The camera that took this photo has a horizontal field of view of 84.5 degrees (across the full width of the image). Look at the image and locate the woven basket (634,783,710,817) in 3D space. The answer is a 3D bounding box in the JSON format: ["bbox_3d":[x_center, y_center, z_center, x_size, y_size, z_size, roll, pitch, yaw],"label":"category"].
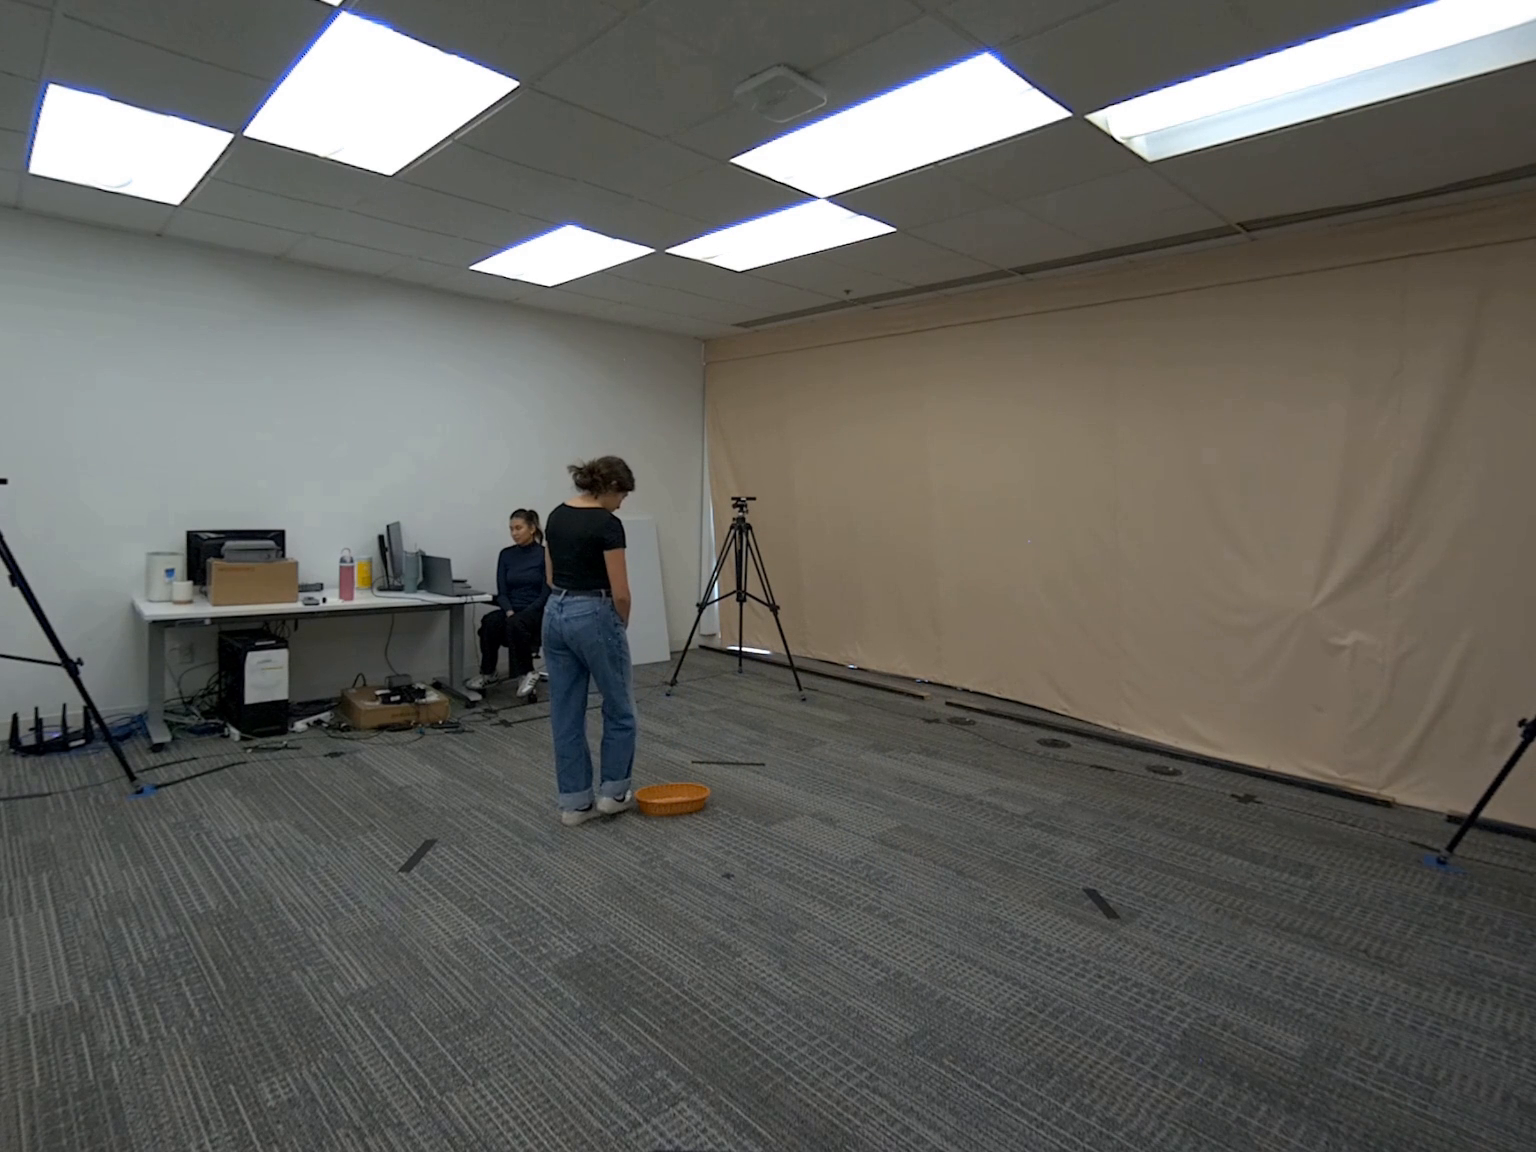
[{"bbox_3d":[-0.443,0.997,3.779,0.345,0.073,0.257,-1,4,-22],"label":"woven basket"}]
